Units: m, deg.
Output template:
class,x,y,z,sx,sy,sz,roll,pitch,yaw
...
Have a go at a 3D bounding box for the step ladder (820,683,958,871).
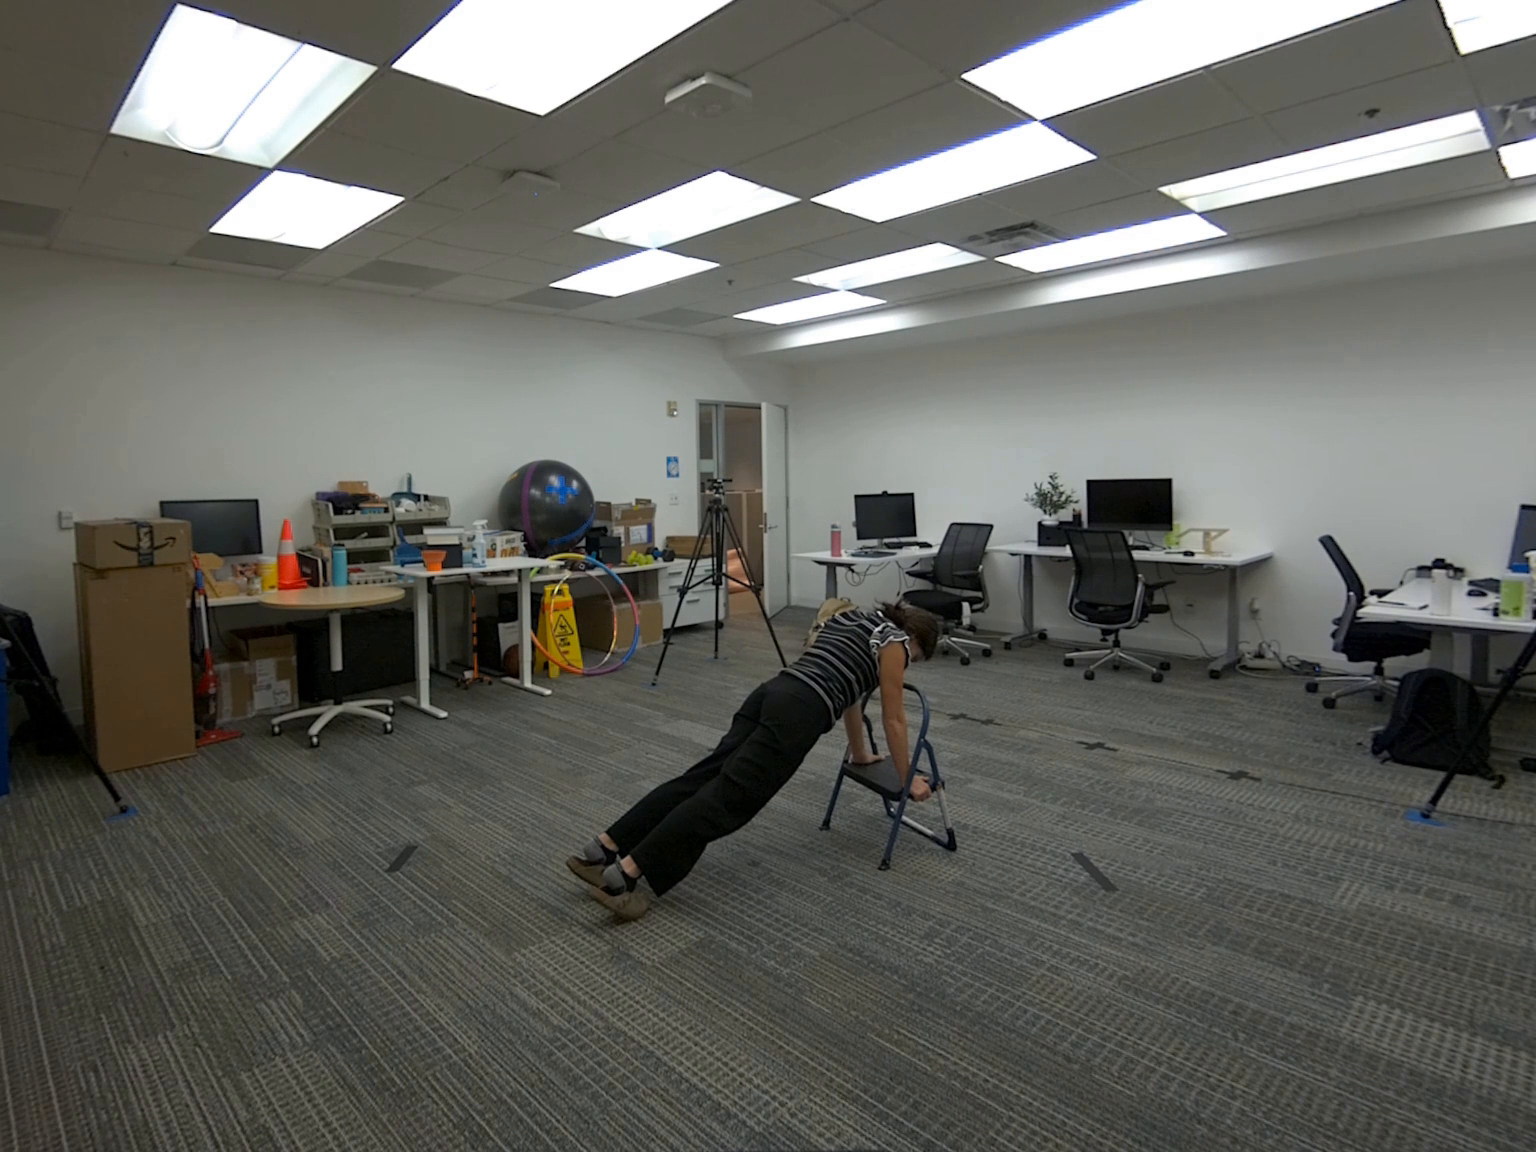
class,x,y,z,sx,sy,sz,roll,pitch,yaw
step ladder,0.456,0.717,3.280,0.341,0.604,0.442,-2,5,-28
